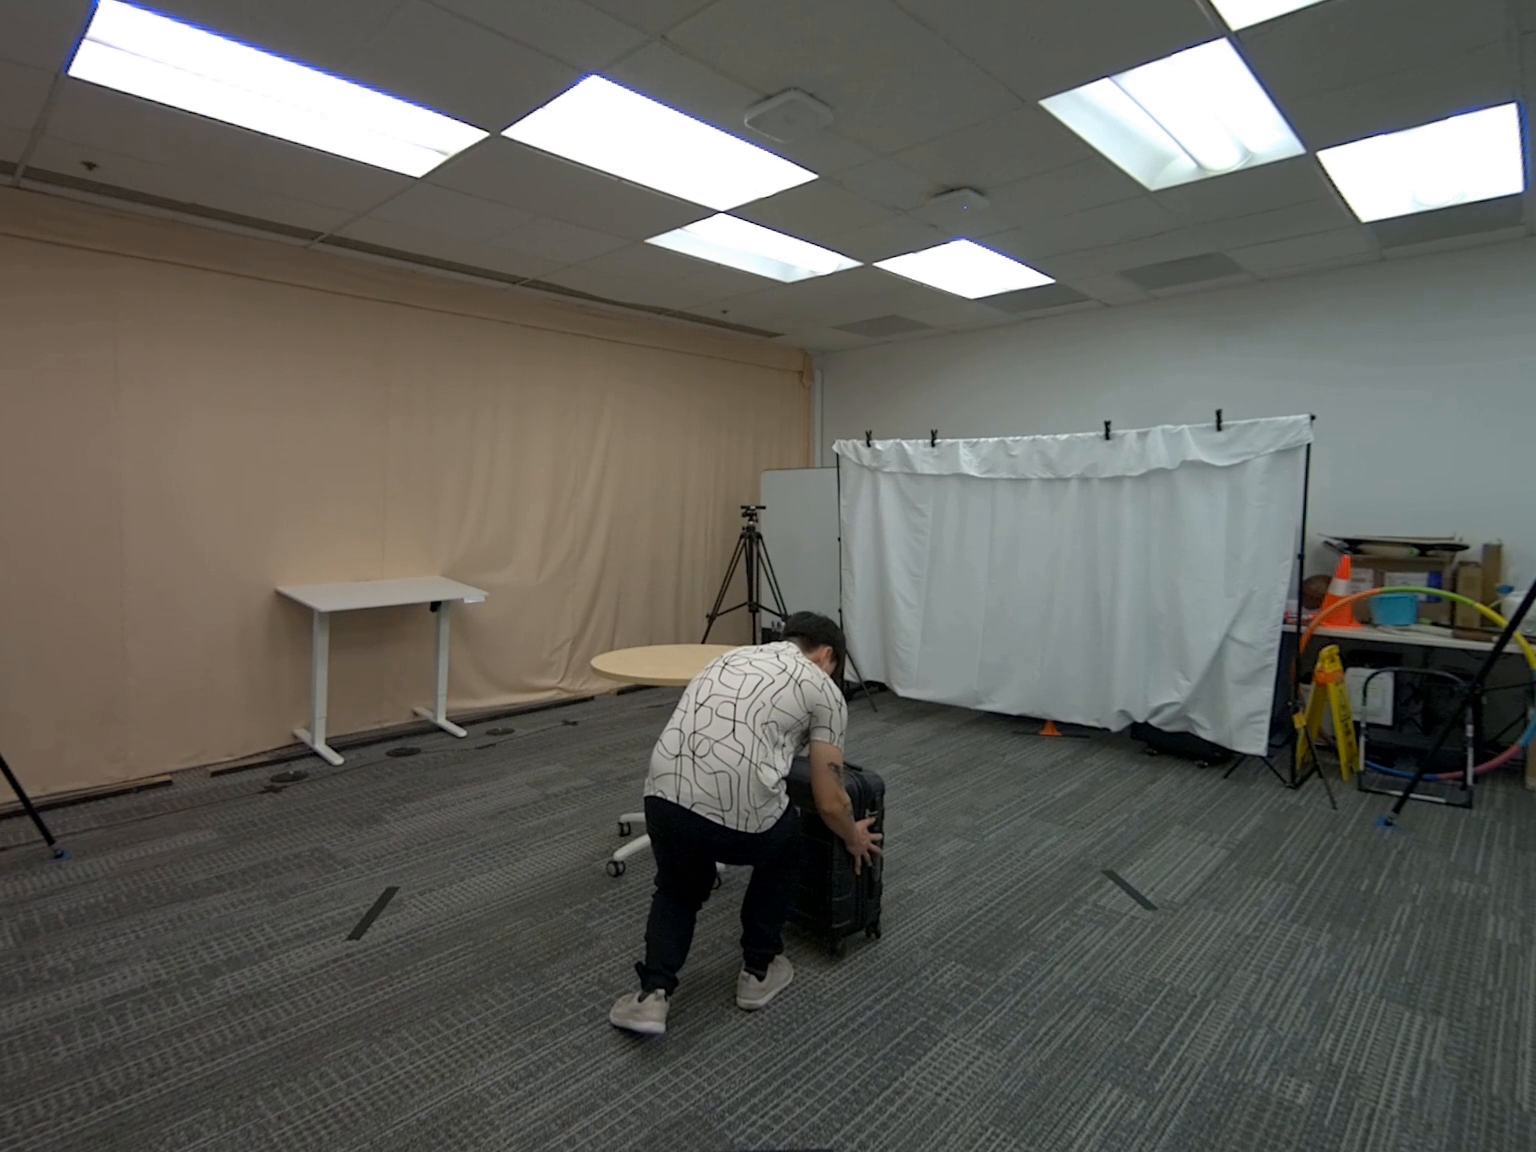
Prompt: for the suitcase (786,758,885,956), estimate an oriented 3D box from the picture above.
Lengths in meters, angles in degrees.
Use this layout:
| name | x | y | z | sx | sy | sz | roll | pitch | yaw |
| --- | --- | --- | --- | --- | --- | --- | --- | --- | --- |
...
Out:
| name | x | y | z | sx | sy | sz | roll | pitch | yaw |
| --- | --- | --- | --- | --- | --- | --- | --- | --- | --- |
| suitcase | 0.186 | 0.874 | 2.712 | 0.240 | 0.549 | 0.388 | 1 | 1 | -45 |
